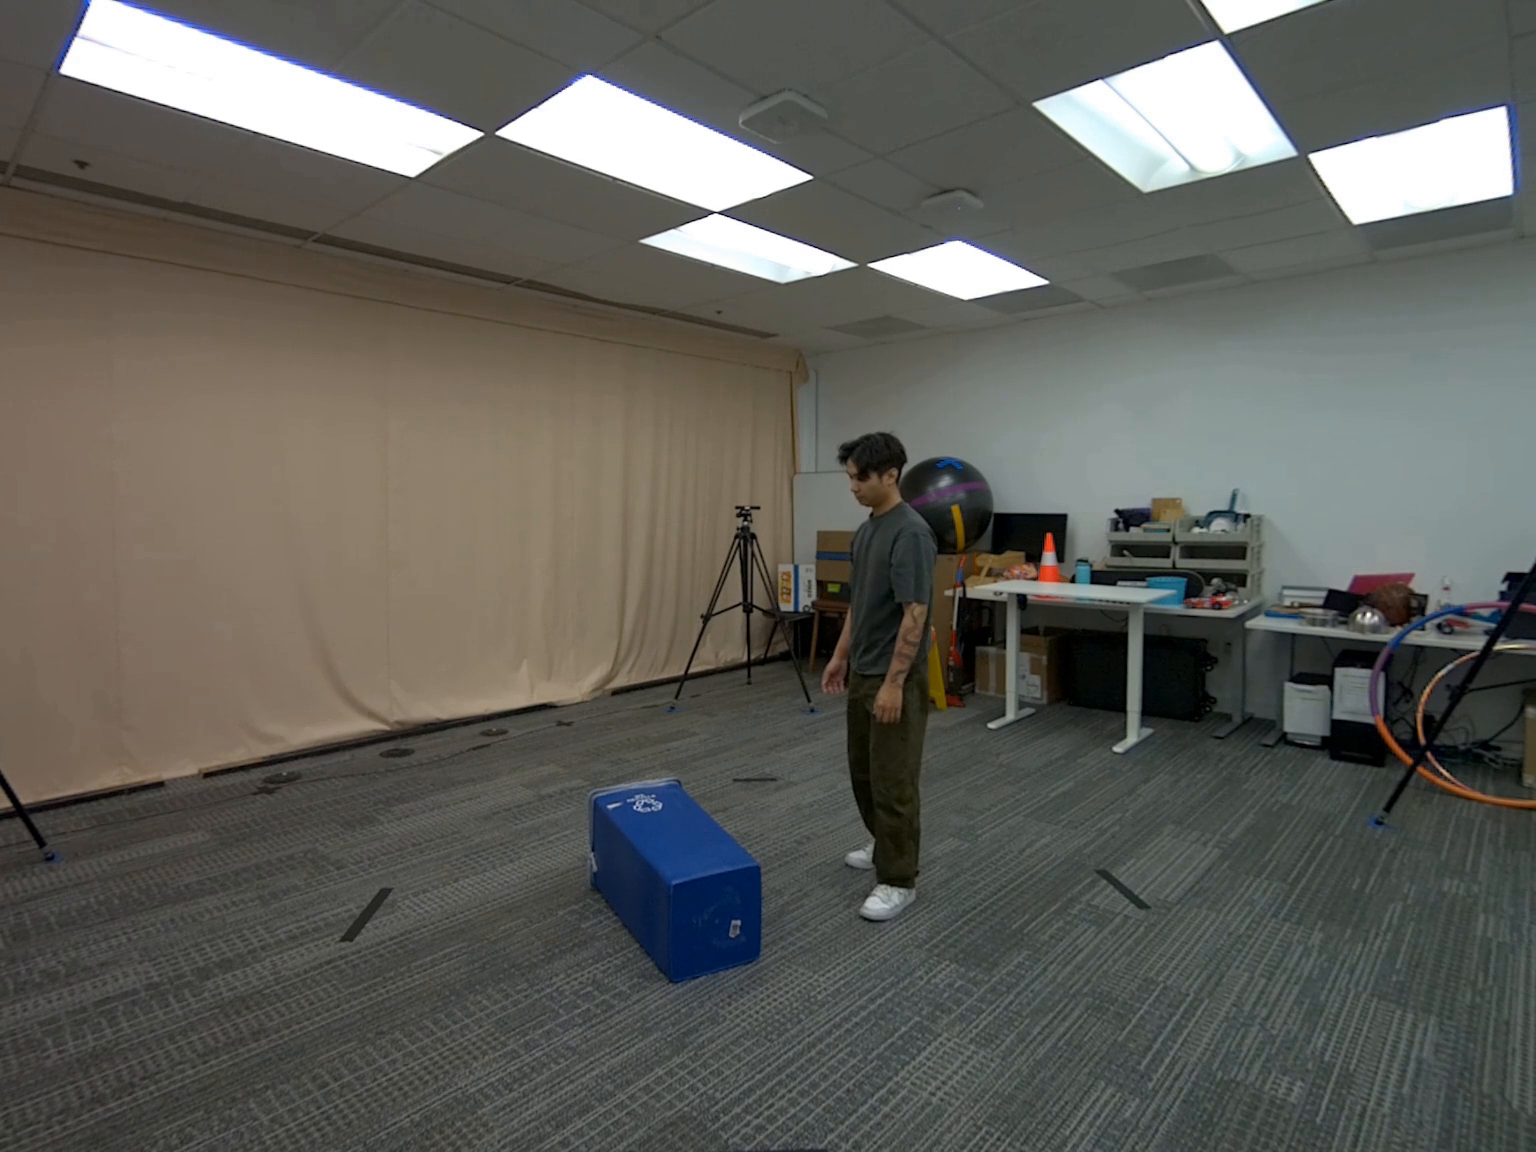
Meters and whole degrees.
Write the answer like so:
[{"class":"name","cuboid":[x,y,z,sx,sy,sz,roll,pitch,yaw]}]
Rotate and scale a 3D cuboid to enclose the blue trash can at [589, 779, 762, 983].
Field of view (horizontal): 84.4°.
[{"class":"blue trash can","cuboid":[-0.326,0.995,2.815,0.368,0.373,0.734,-2,7,-28]}]
